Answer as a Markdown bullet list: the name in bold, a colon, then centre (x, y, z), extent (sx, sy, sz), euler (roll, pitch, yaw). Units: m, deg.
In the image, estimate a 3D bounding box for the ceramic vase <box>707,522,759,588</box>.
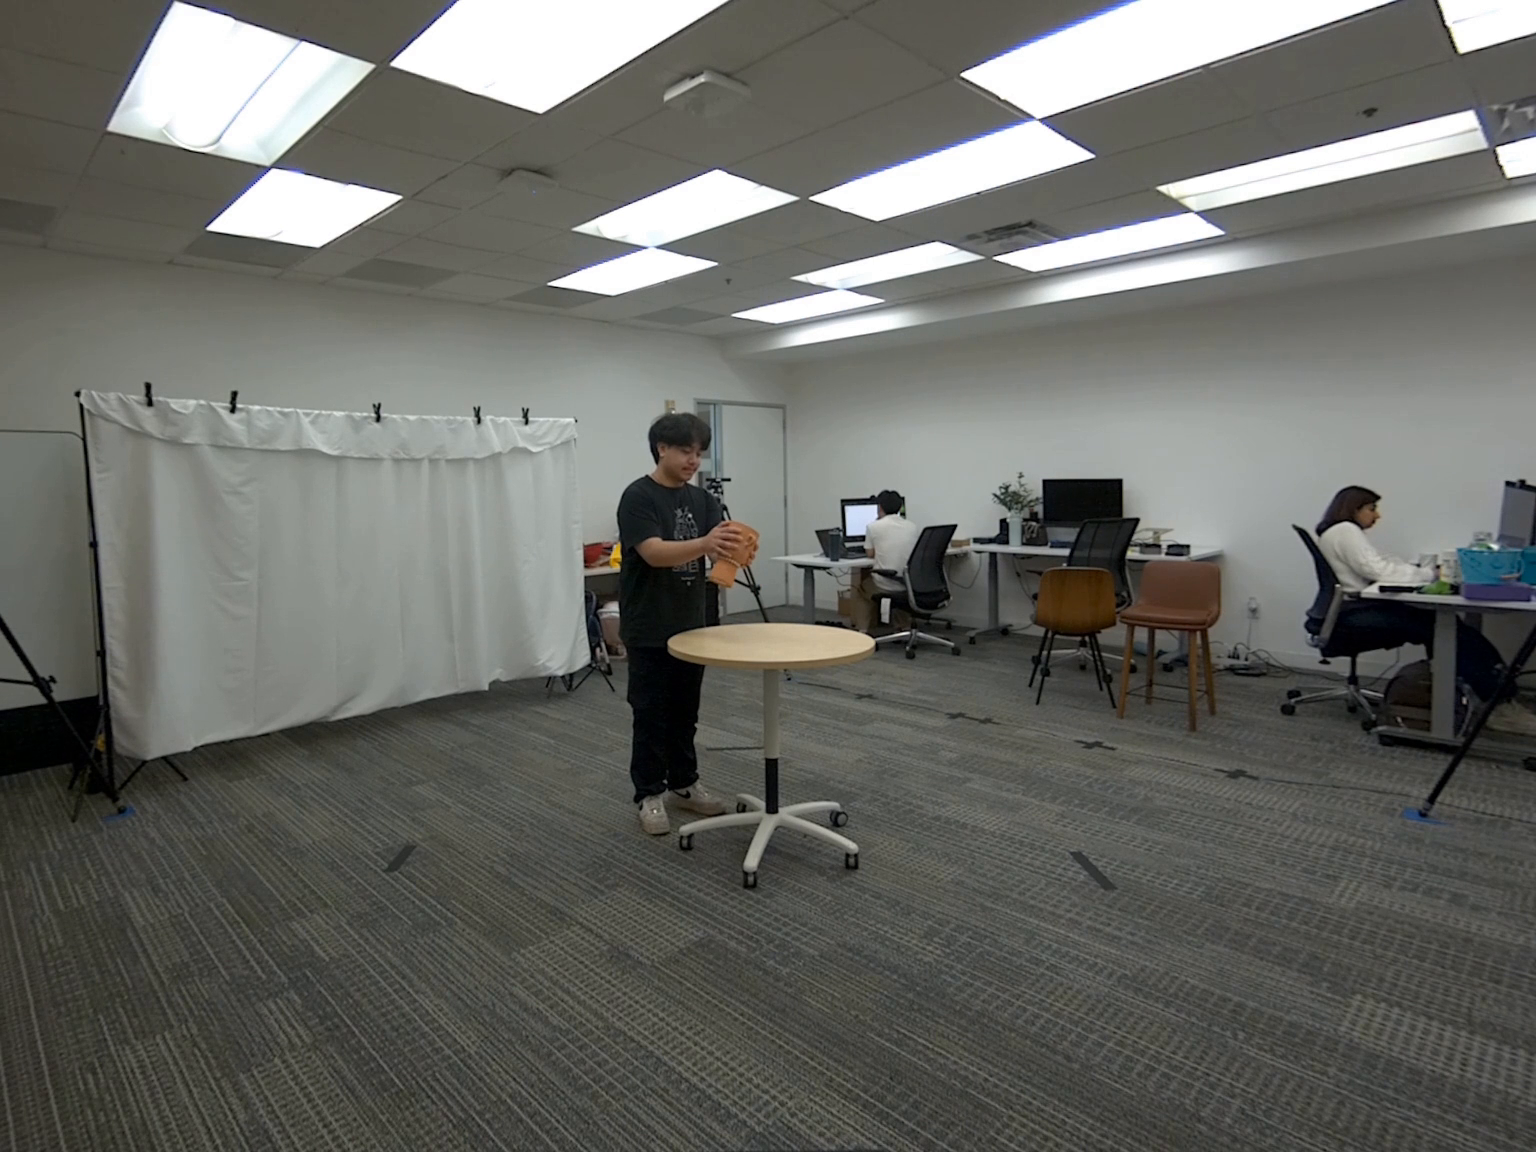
- **ceramic vase**: centre (-0.136, -0.077, 3.119), extent (0.135, 0.221, 0.157), euler (23, -12, 3)
